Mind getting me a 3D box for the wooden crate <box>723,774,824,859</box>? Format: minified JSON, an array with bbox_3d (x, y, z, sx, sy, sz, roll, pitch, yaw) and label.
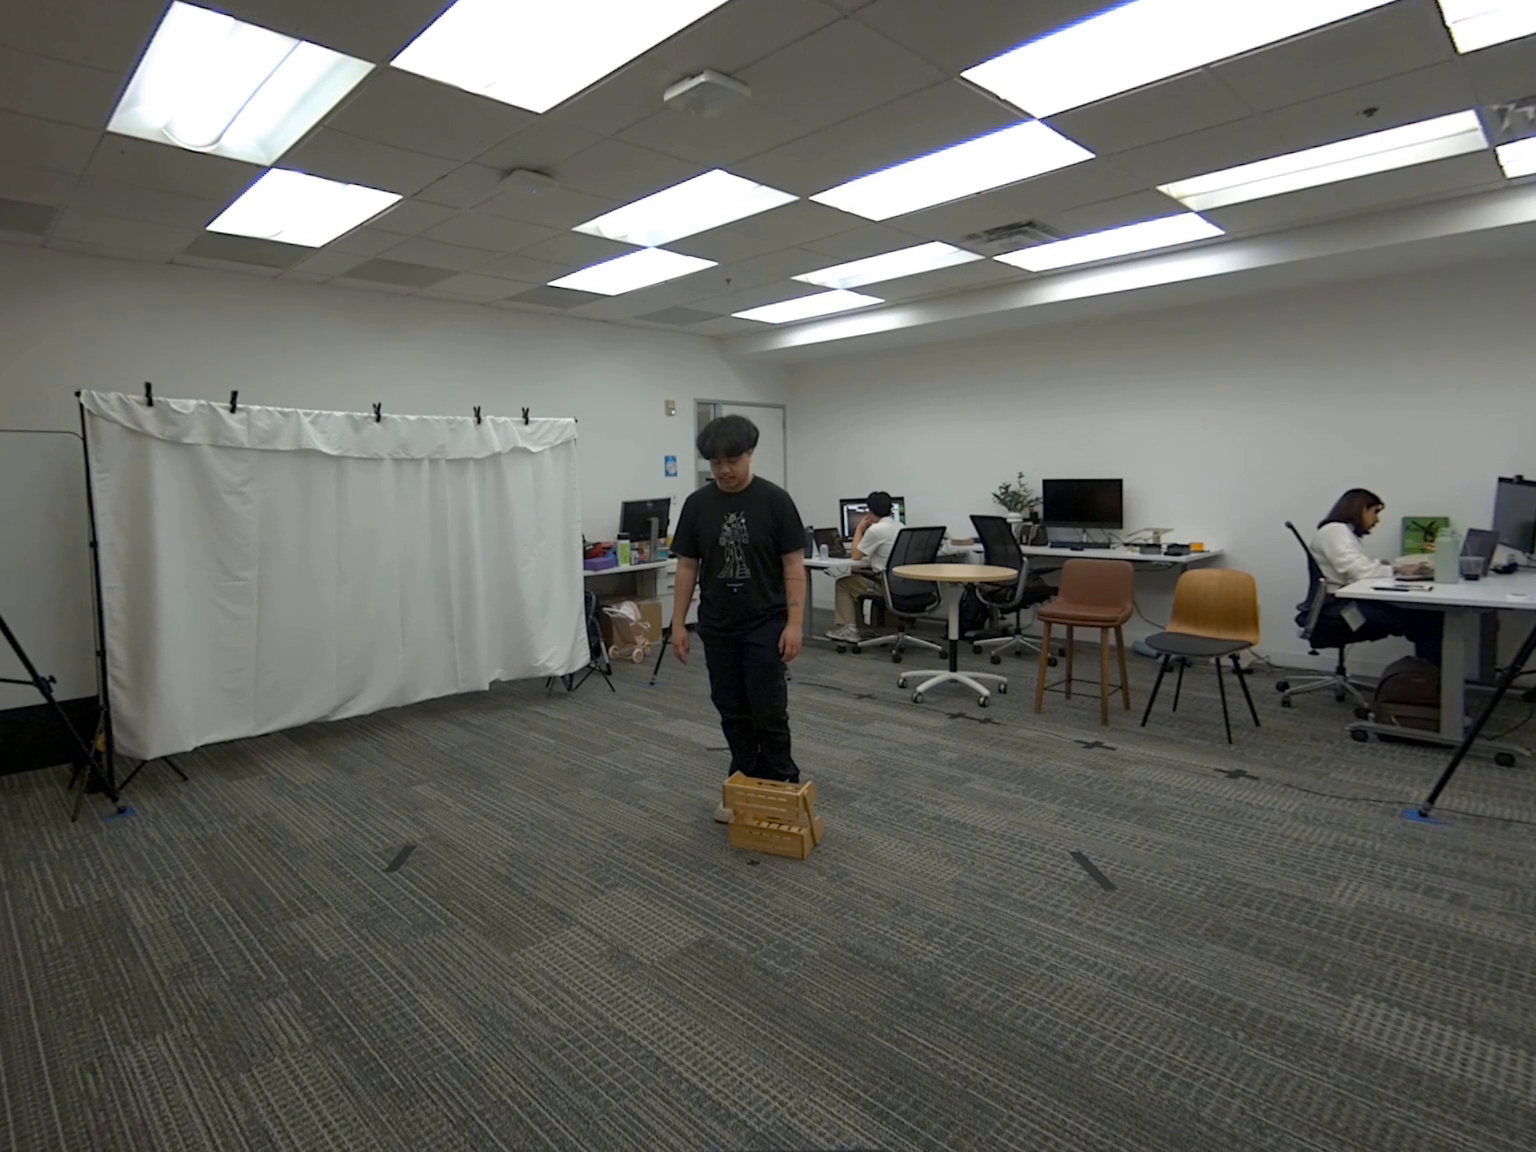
[{"bbox_3d":[0.028,0.896,3.275,0.331,0.272,0.297,1,6,22],"label":"wooden crate"}]
